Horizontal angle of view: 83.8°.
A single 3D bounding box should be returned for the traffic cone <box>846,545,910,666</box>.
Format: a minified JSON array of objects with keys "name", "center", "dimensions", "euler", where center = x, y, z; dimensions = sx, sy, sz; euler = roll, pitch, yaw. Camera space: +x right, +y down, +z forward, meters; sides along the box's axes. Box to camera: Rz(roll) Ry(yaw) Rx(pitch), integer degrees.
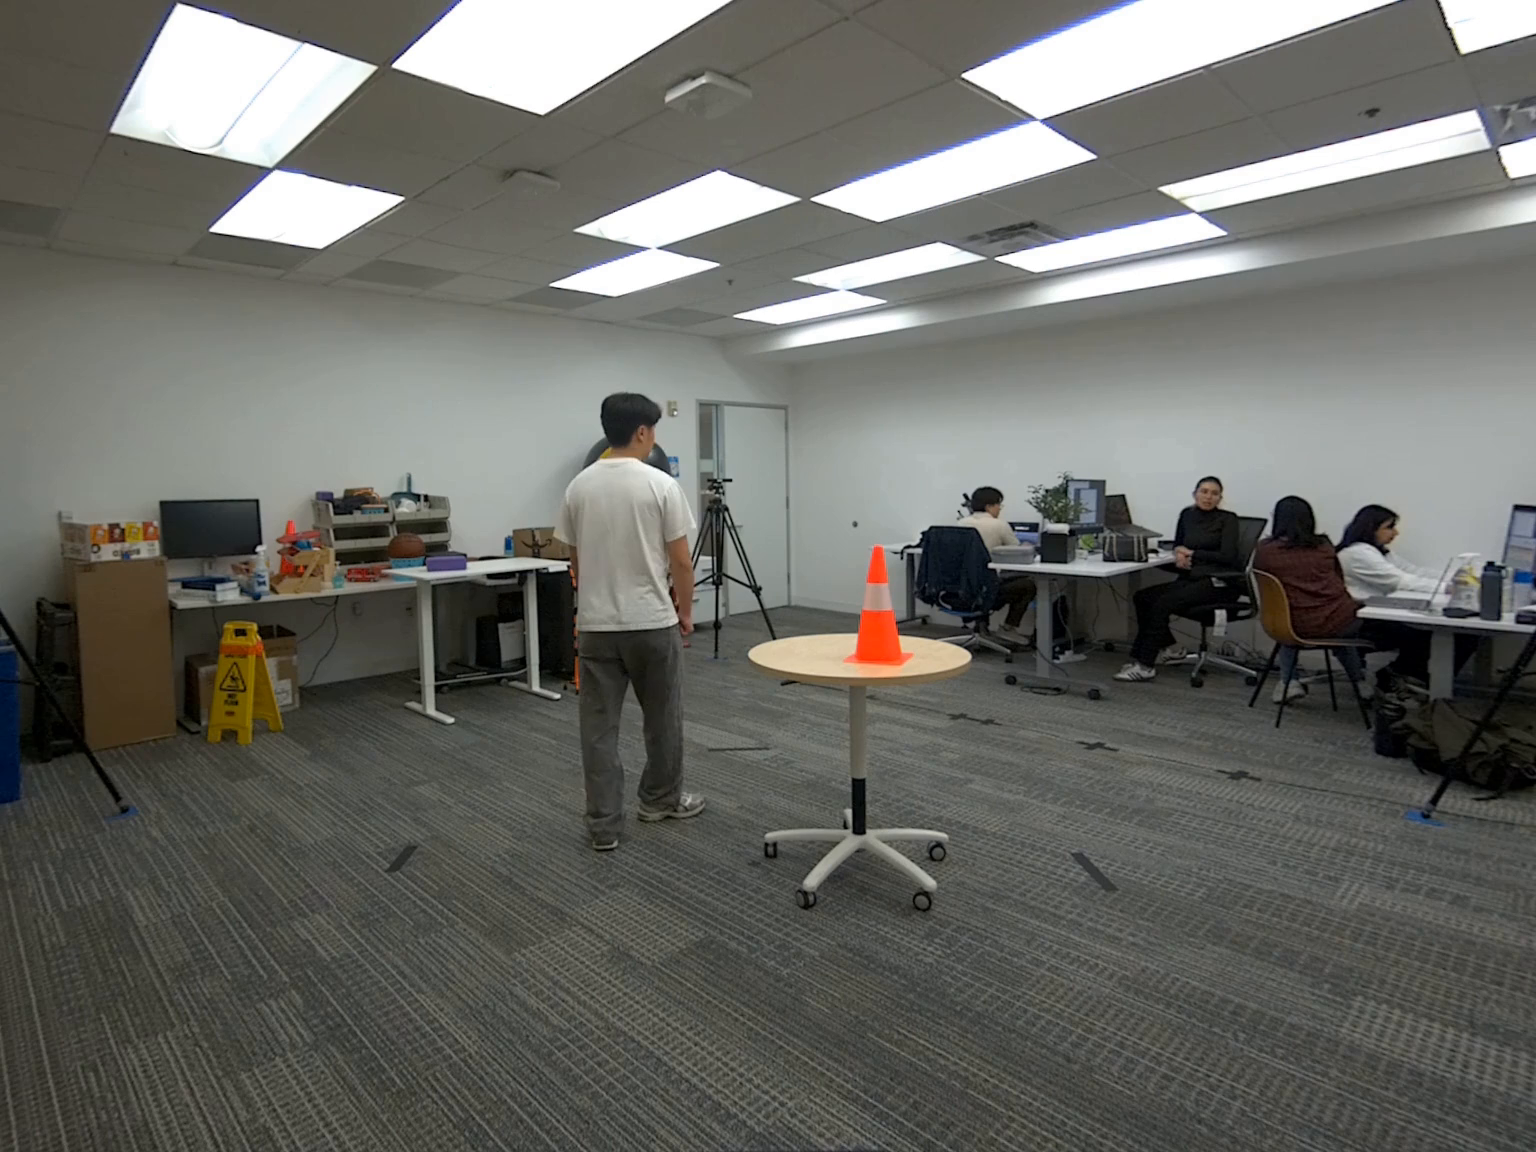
[{"name":"traffic cone","center":[0.371,0.094,2.883],"dimensions":[0.208,0.382,0.201],"euler":[0,5,23]}]
